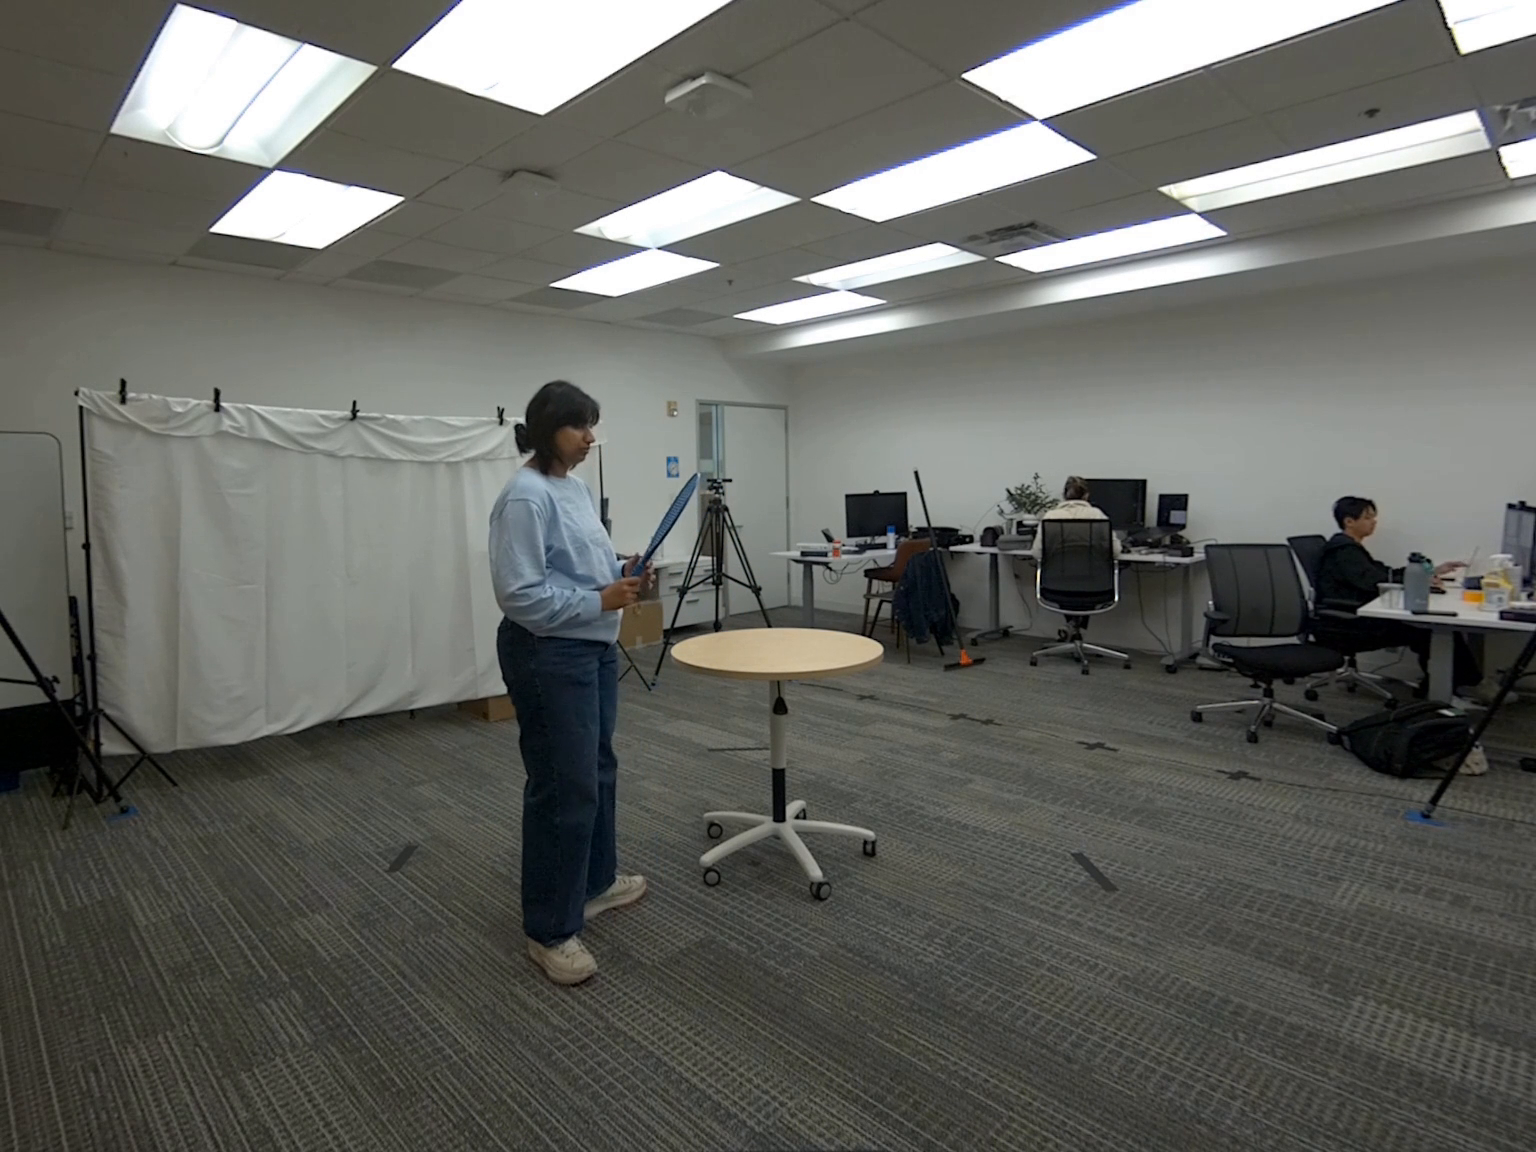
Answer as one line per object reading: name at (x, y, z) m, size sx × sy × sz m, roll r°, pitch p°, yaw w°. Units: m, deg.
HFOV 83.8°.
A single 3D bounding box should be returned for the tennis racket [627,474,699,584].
tennis racket at (-0.316, -0.111, 2.465) m, size 0.032 × 0.432 × 0.213 m, roll 29°, pitch 4°, yaw 2°
